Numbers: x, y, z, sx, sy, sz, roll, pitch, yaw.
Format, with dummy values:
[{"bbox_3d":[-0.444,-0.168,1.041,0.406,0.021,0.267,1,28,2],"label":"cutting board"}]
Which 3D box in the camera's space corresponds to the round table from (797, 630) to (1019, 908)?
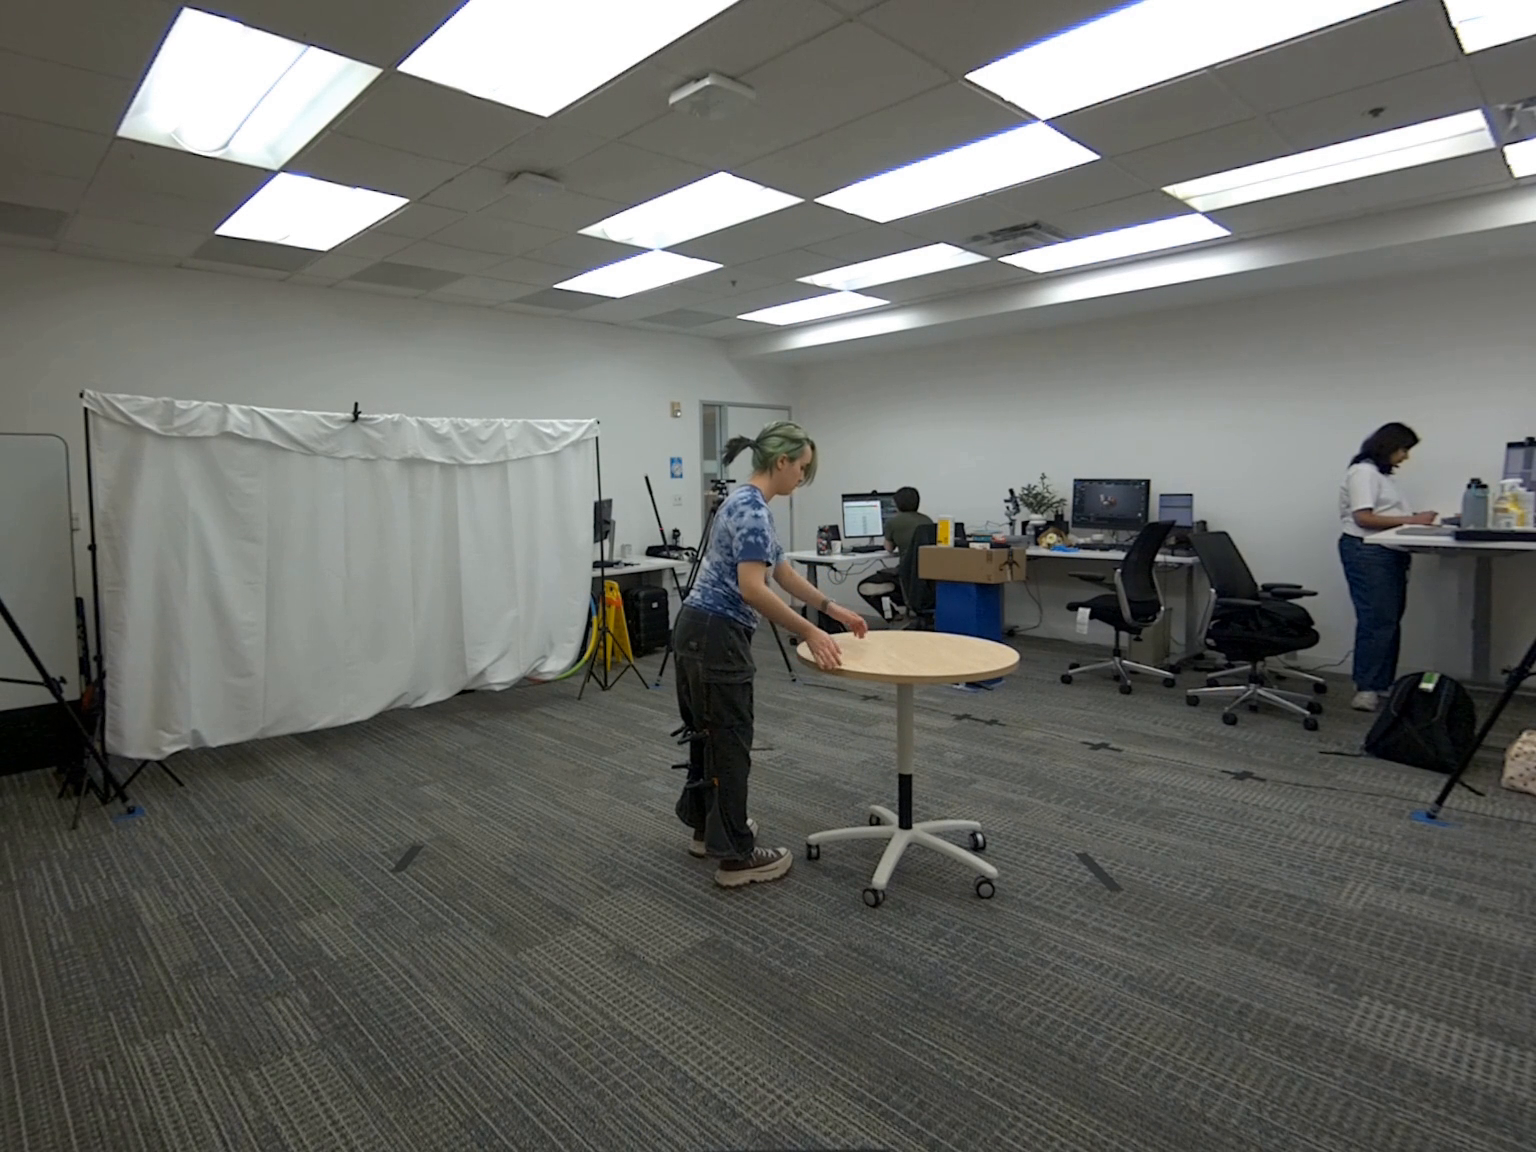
[{"bbox_3d":[0.492,0.655,3.047,0.763,0.790,0.768,-1,5,-2],"label":"round table"}]
